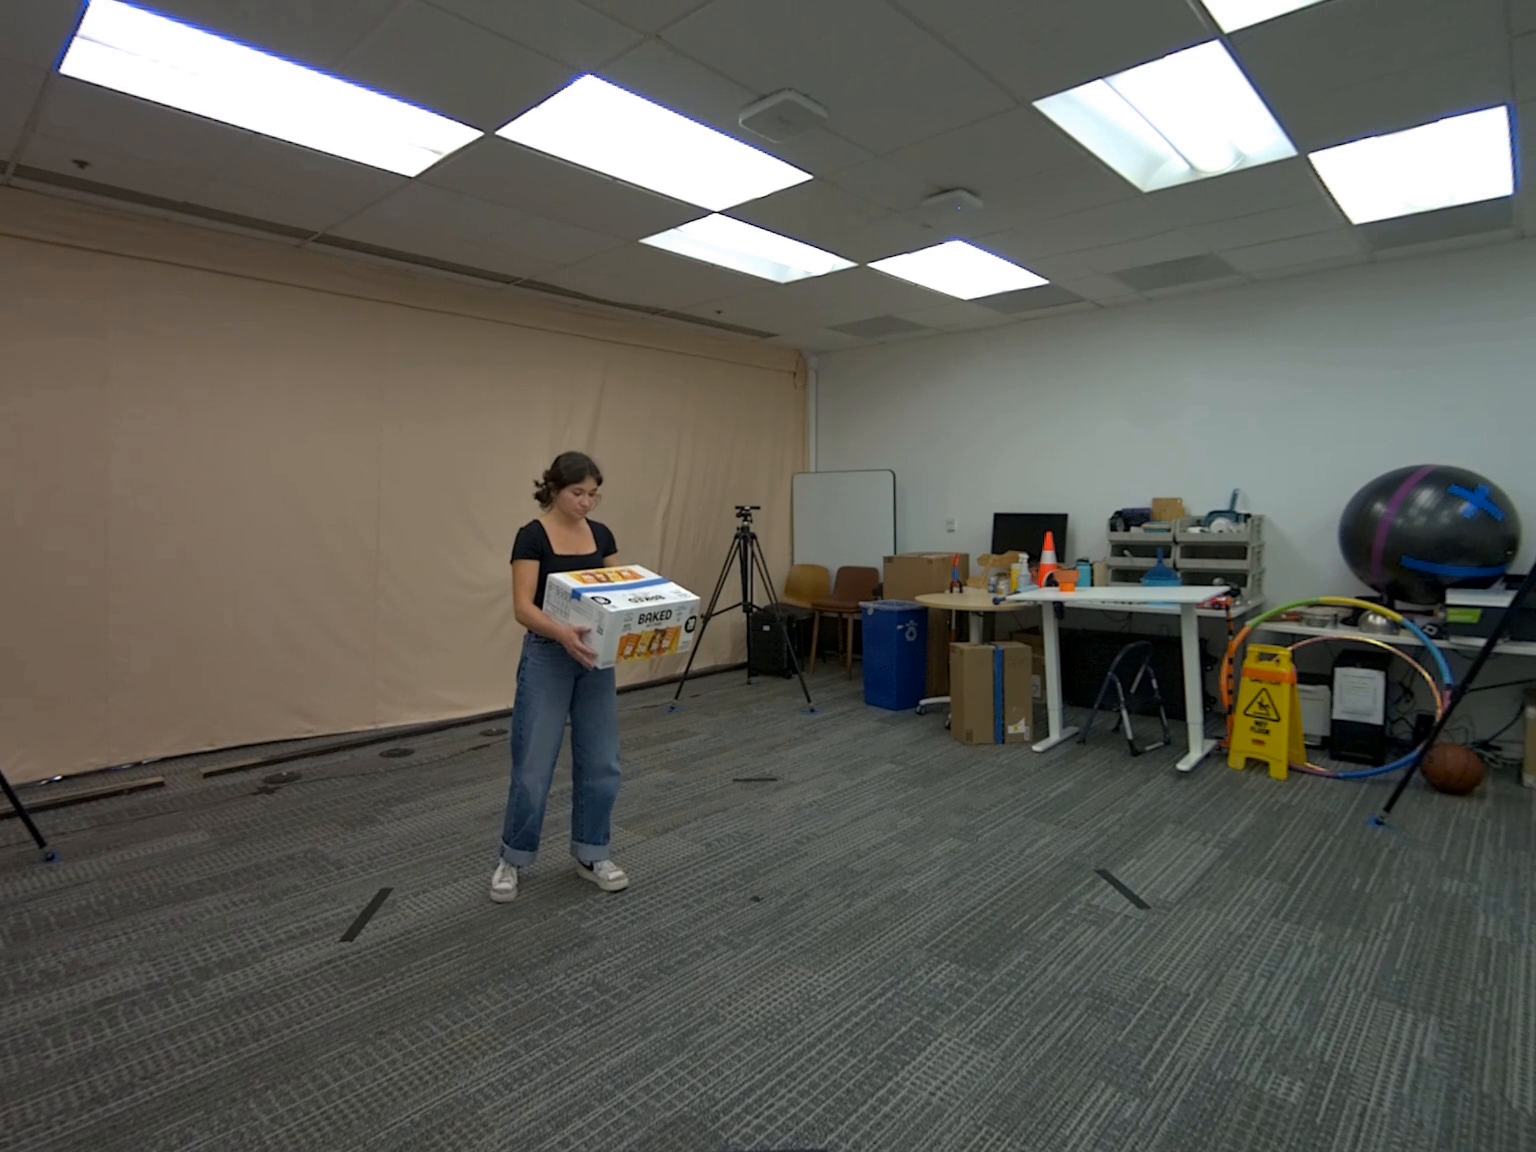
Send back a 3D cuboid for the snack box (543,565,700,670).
[{"bbox_3d":[-0.505,0.130,2.874,0.353,0.204,0.393,24,20,38],"label":"snack box"}]
